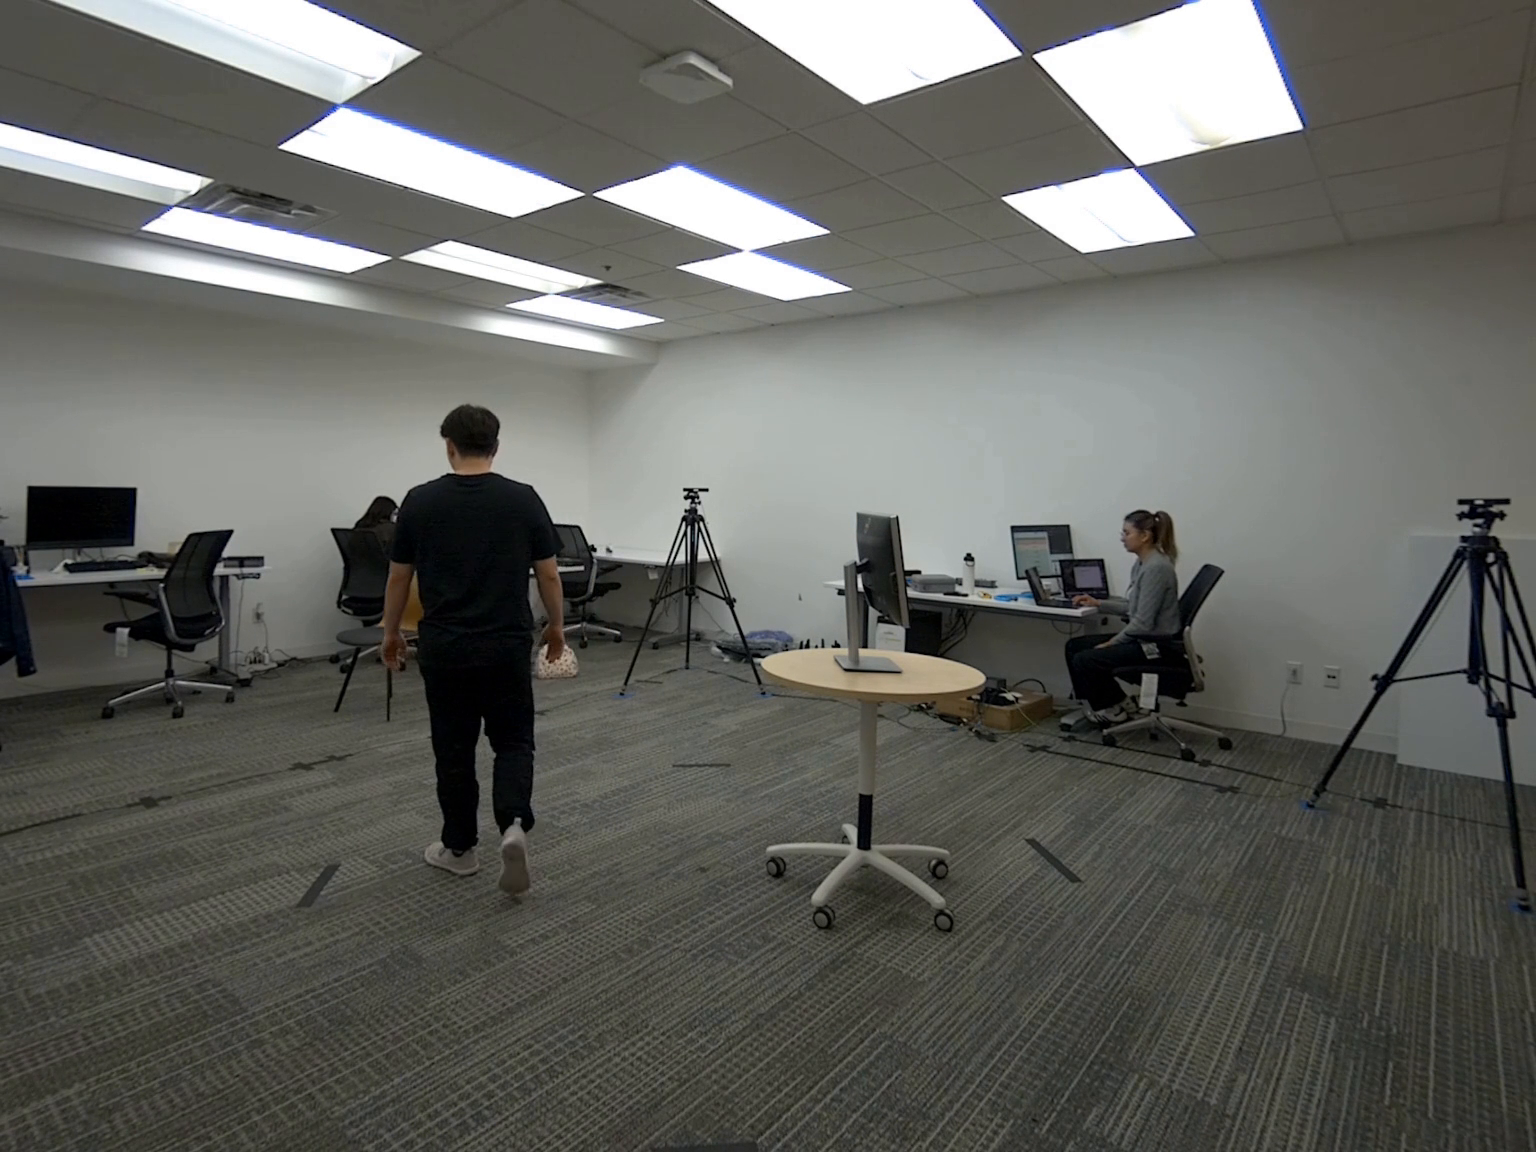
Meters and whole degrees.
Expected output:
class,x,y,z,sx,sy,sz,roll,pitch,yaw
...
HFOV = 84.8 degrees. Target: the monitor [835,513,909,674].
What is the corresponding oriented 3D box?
class,x,y,z,sx,sy,sz,roll,pitch,yaw
monitor,0.350,0.053,2.990,0.186,0.521,0.544,3,4,-6
